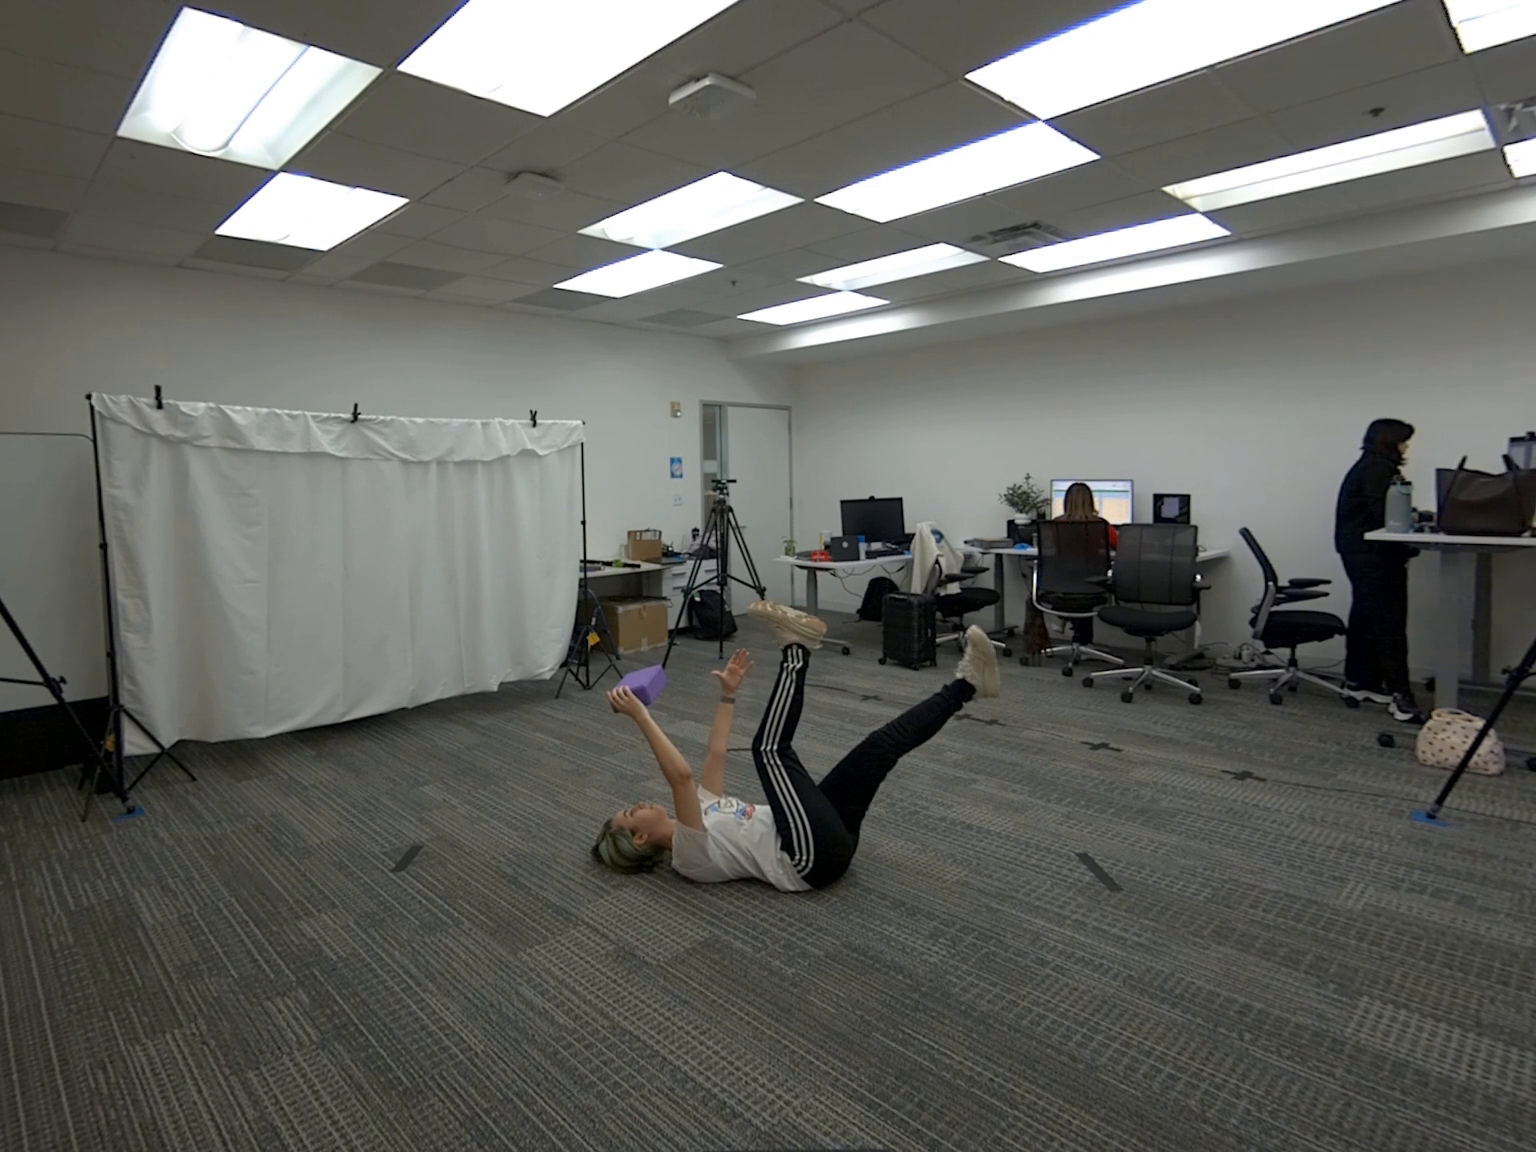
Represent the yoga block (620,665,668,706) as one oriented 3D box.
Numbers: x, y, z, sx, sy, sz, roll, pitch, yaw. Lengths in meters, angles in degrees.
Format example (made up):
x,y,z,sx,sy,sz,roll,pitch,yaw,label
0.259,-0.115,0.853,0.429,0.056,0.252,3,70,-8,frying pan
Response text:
x,y,z,sx,sy,sz,roll,pitch,yaw,label
-0.473,0.407,3.085,0.150,0.076,0.230,-14,10,7,yoga block
